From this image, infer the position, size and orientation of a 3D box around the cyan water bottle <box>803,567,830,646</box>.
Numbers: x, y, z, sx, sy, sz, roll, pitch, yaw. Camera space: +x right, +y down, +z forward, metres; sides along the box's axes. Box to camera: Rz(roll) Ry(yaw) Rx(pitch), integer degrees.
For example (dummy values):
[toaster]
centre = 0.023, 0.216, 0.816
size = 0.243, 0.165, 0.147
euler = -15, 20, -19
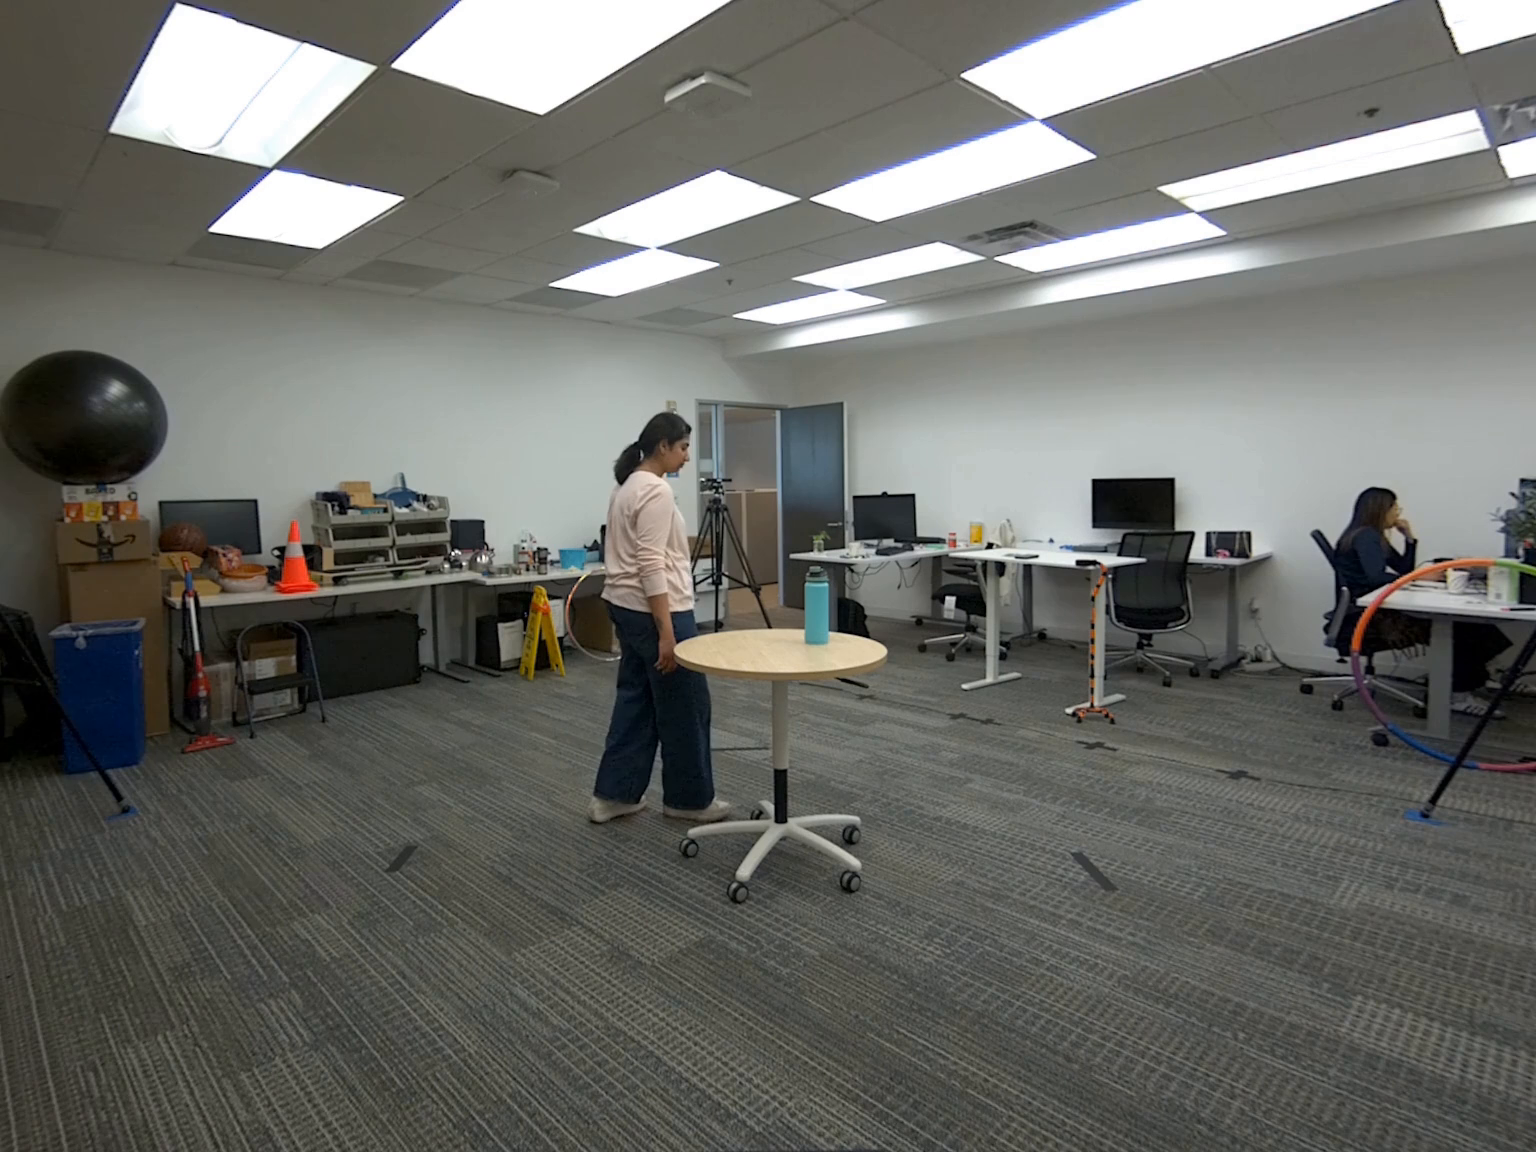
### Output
[cyan water bottle]
centre = 0.194, 0.109, 3.182
size = 0.092, 0.282, 0.093
euler = 0, 4, -2
